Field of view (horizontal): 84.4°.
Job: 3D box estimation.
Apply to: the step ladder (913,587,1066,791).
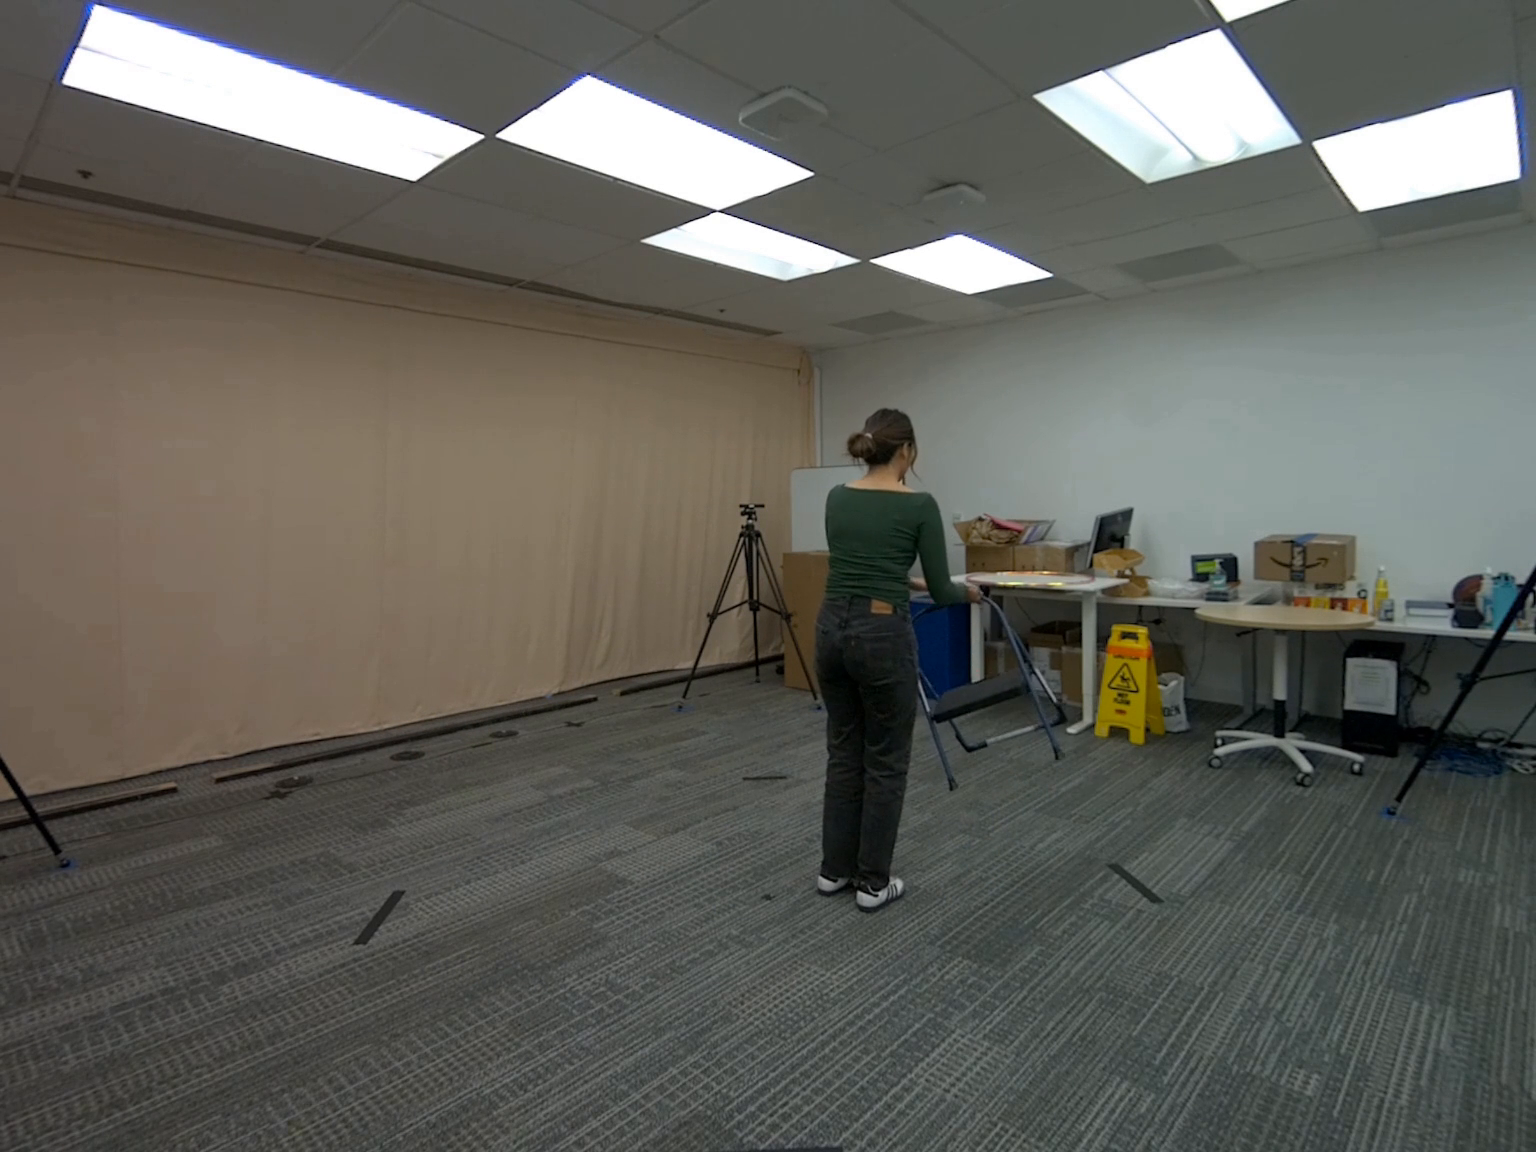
[{"bbox_3d":[0.767,0.395,3.117,0.438,0.607,0.343,-26,-1,28],"label":"step ladder"}]
